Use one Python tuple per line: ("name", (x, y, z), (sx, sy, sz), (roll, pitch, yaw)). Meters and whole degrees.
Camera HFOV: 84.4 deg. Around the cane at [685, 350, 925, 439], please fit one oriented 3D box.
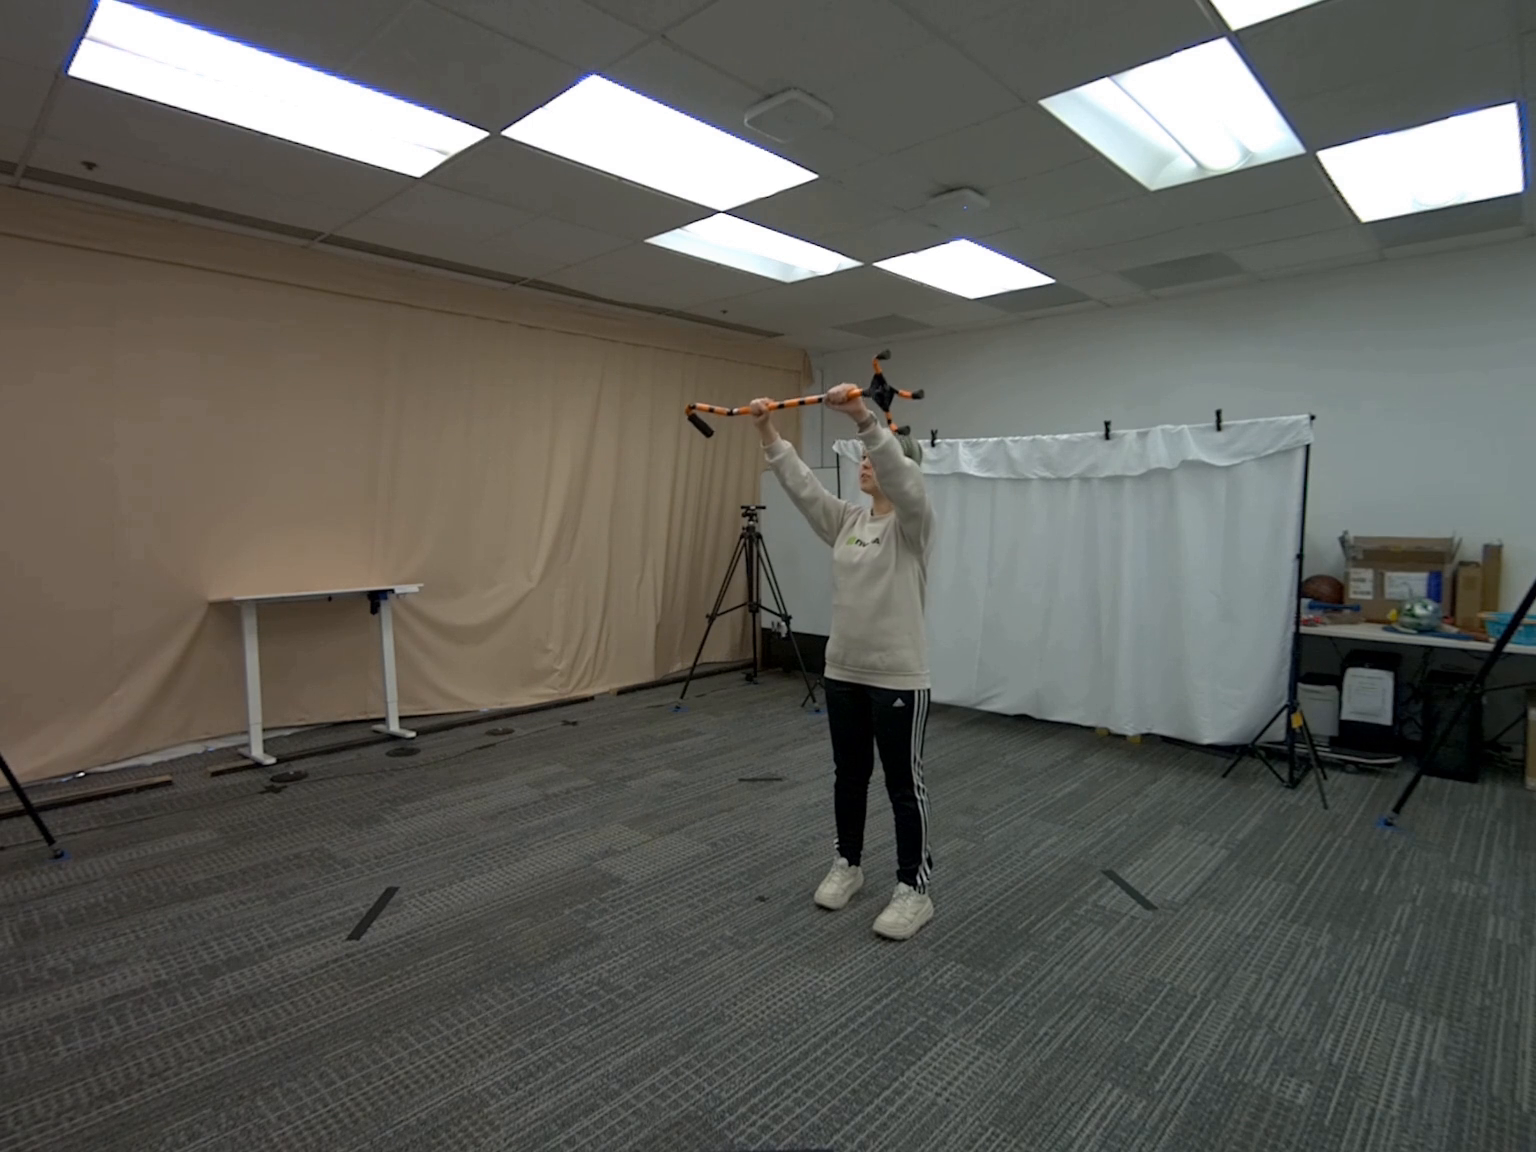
("cane", (0.041, -0.517, 2.628), (0.938, 0.152, 0.199), (4, -28, 48))
